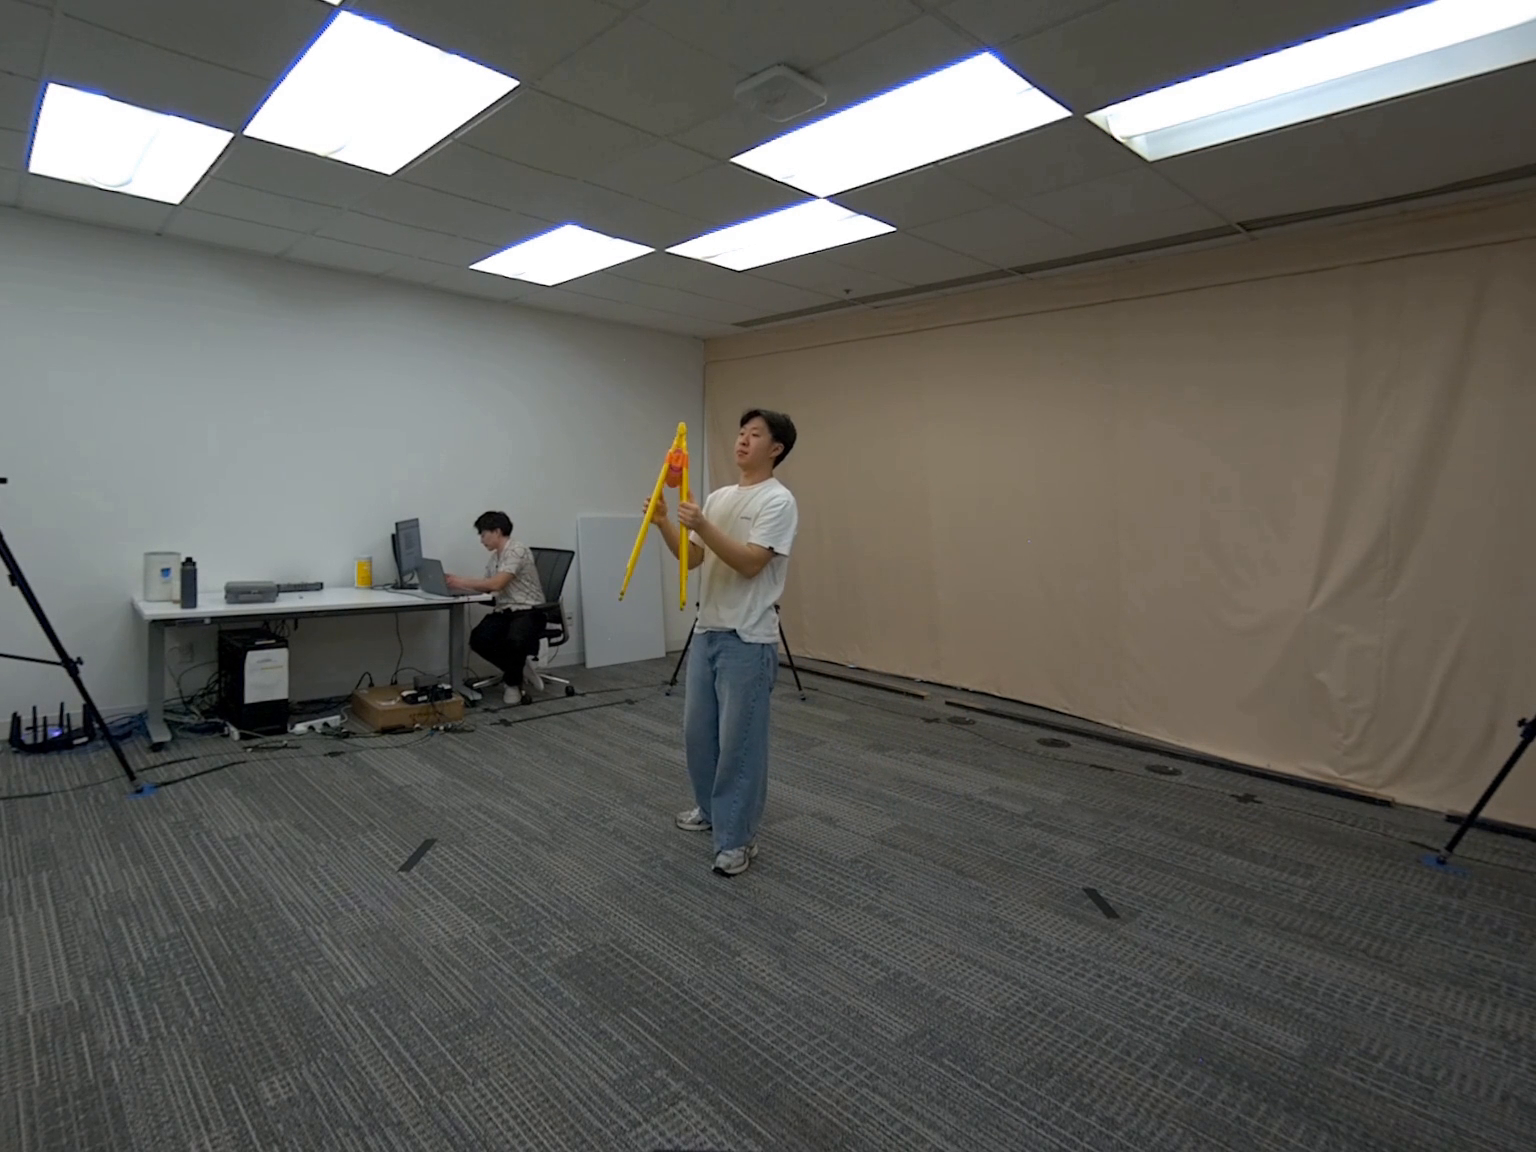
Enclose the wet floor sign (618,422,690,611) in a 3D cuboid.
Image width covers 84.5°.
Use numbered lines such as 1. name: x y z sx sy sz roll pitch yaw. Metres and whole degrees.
1. wet floor sign: -0.375 -0.224 3.057 0.288 0.650 0.282 10 -10 -6
